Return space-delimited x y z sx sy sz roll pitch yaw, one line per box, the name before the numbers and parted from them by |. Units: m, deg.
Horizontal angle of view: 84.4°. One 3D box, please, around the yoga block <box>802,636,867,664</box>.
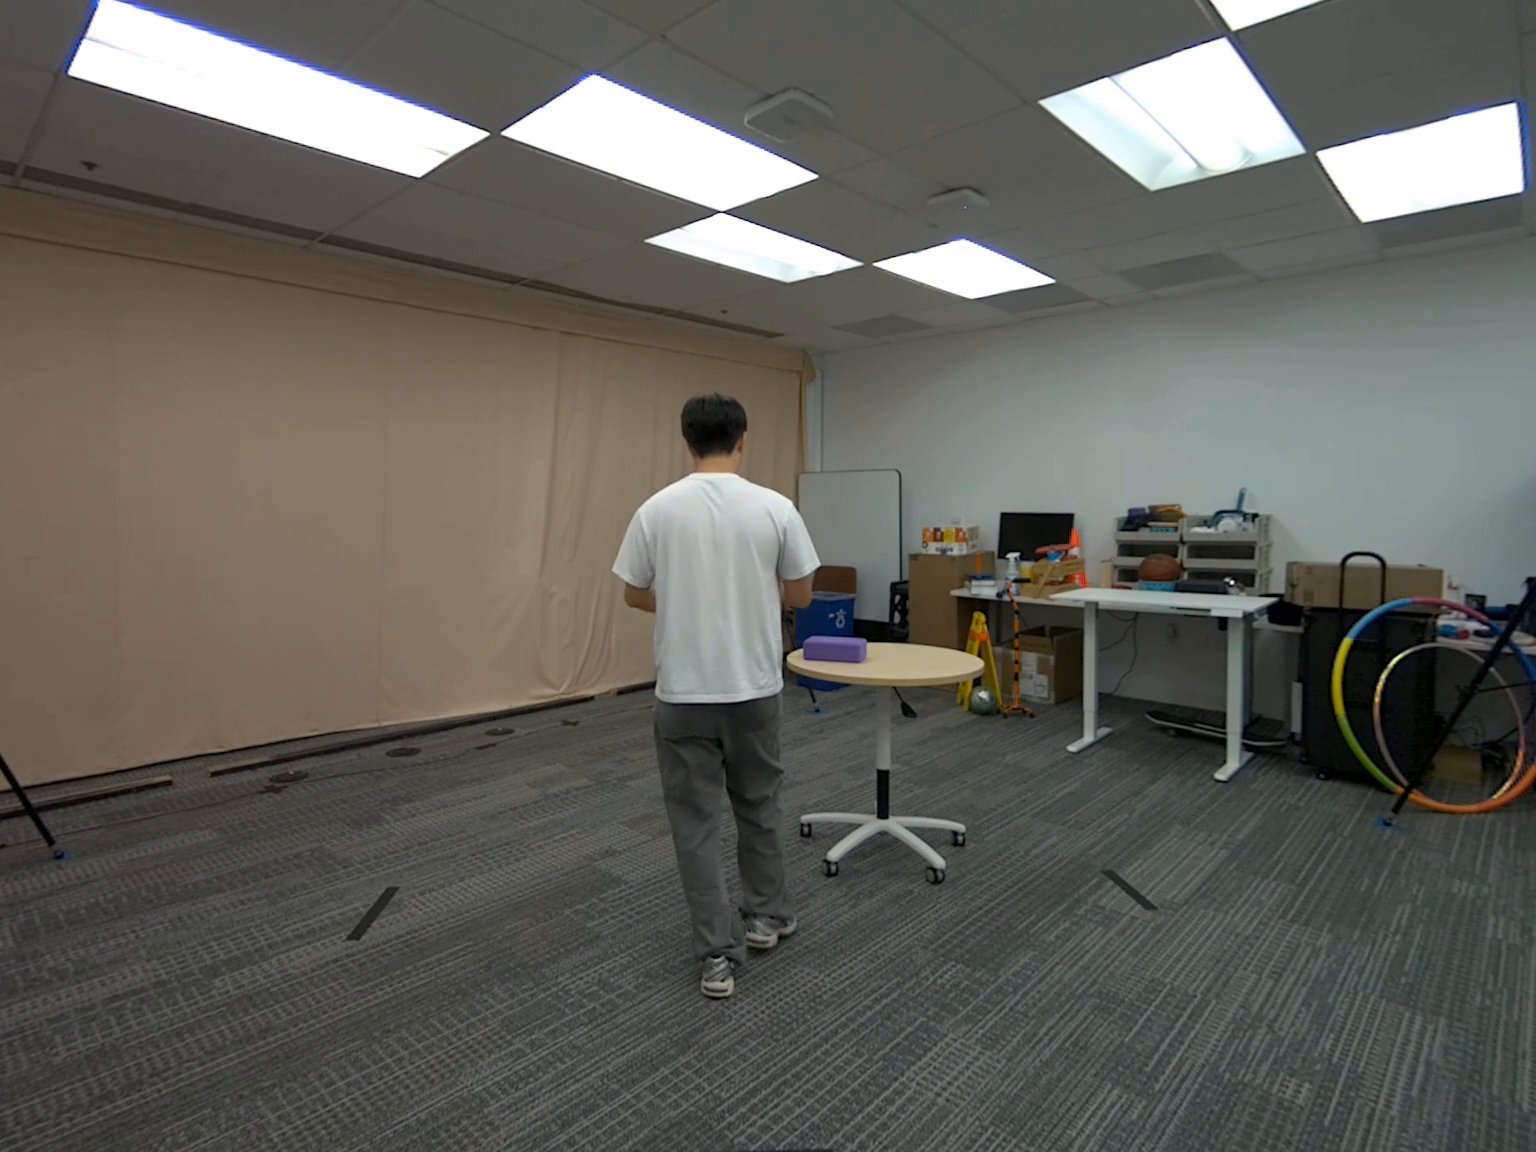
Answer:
yoga block | 0.279 0.292 3.353 0.234 0.076 0.146 2 5 18
